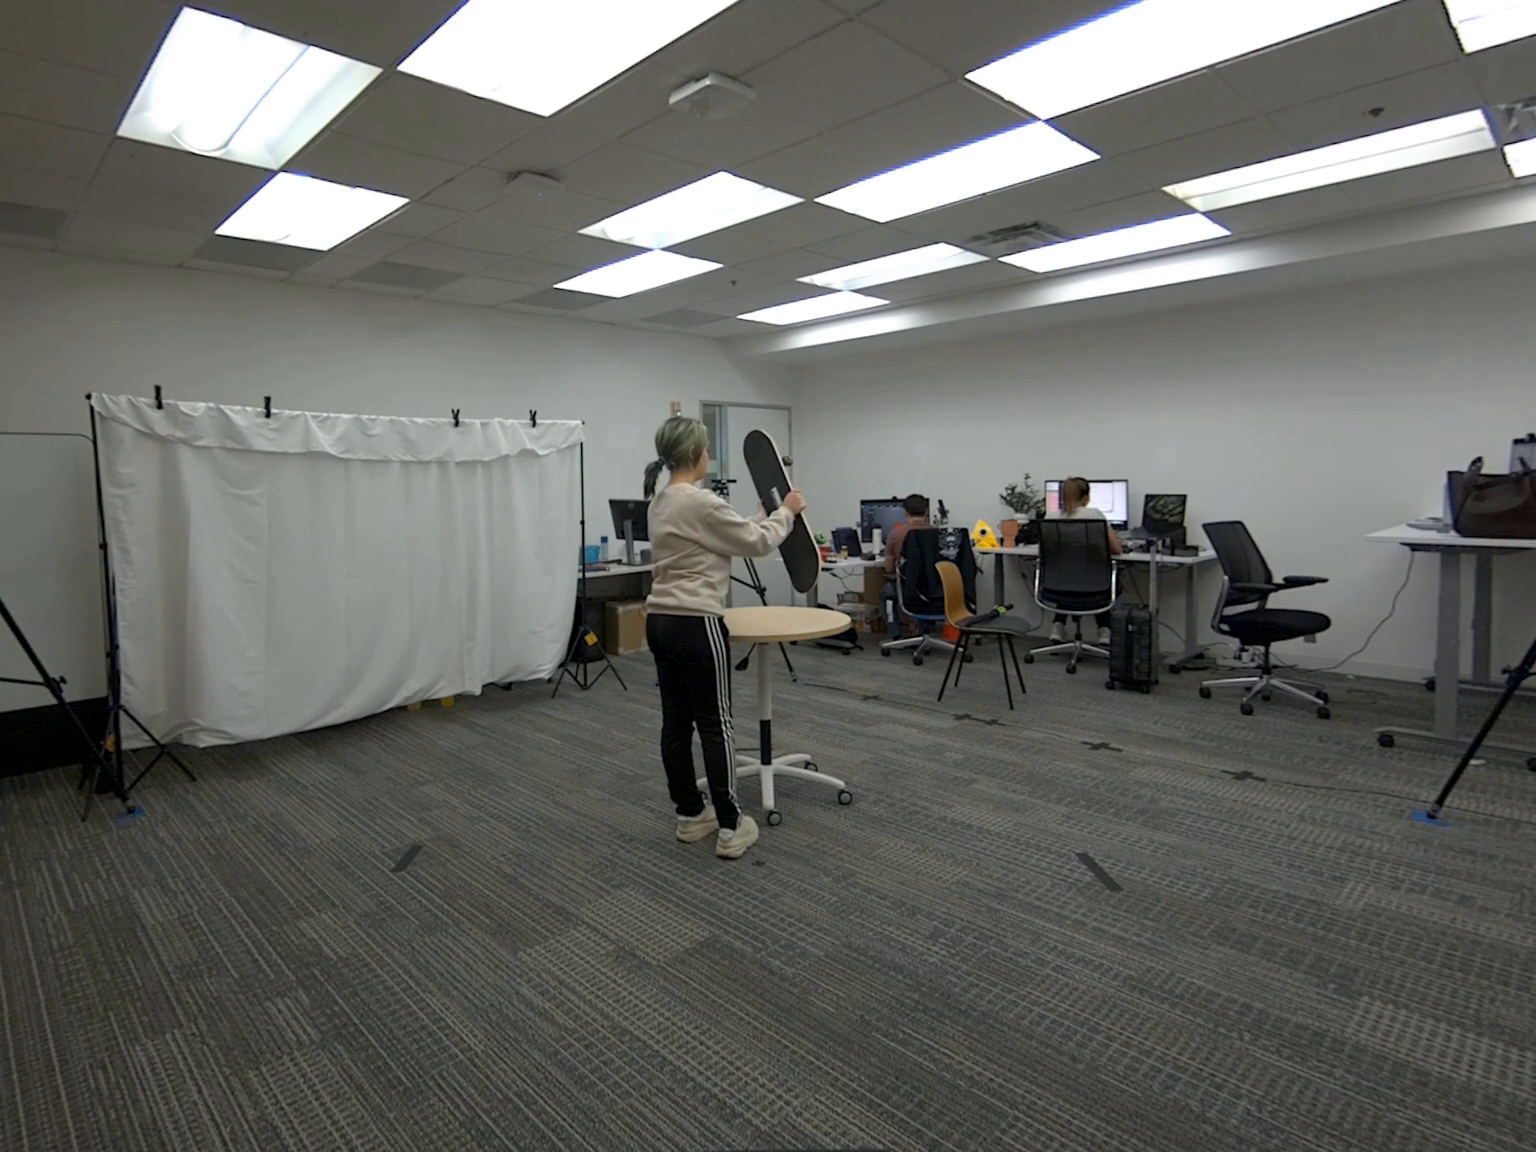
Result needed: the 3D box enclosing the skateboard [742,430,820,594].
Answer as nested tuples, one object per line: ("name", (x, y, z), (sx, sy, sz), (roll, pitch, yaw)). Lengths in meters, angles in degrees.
("skateboard", (0.079, -0.275, 3.542), (0.107, 0.809, 0.193), (4, -37, -38))
